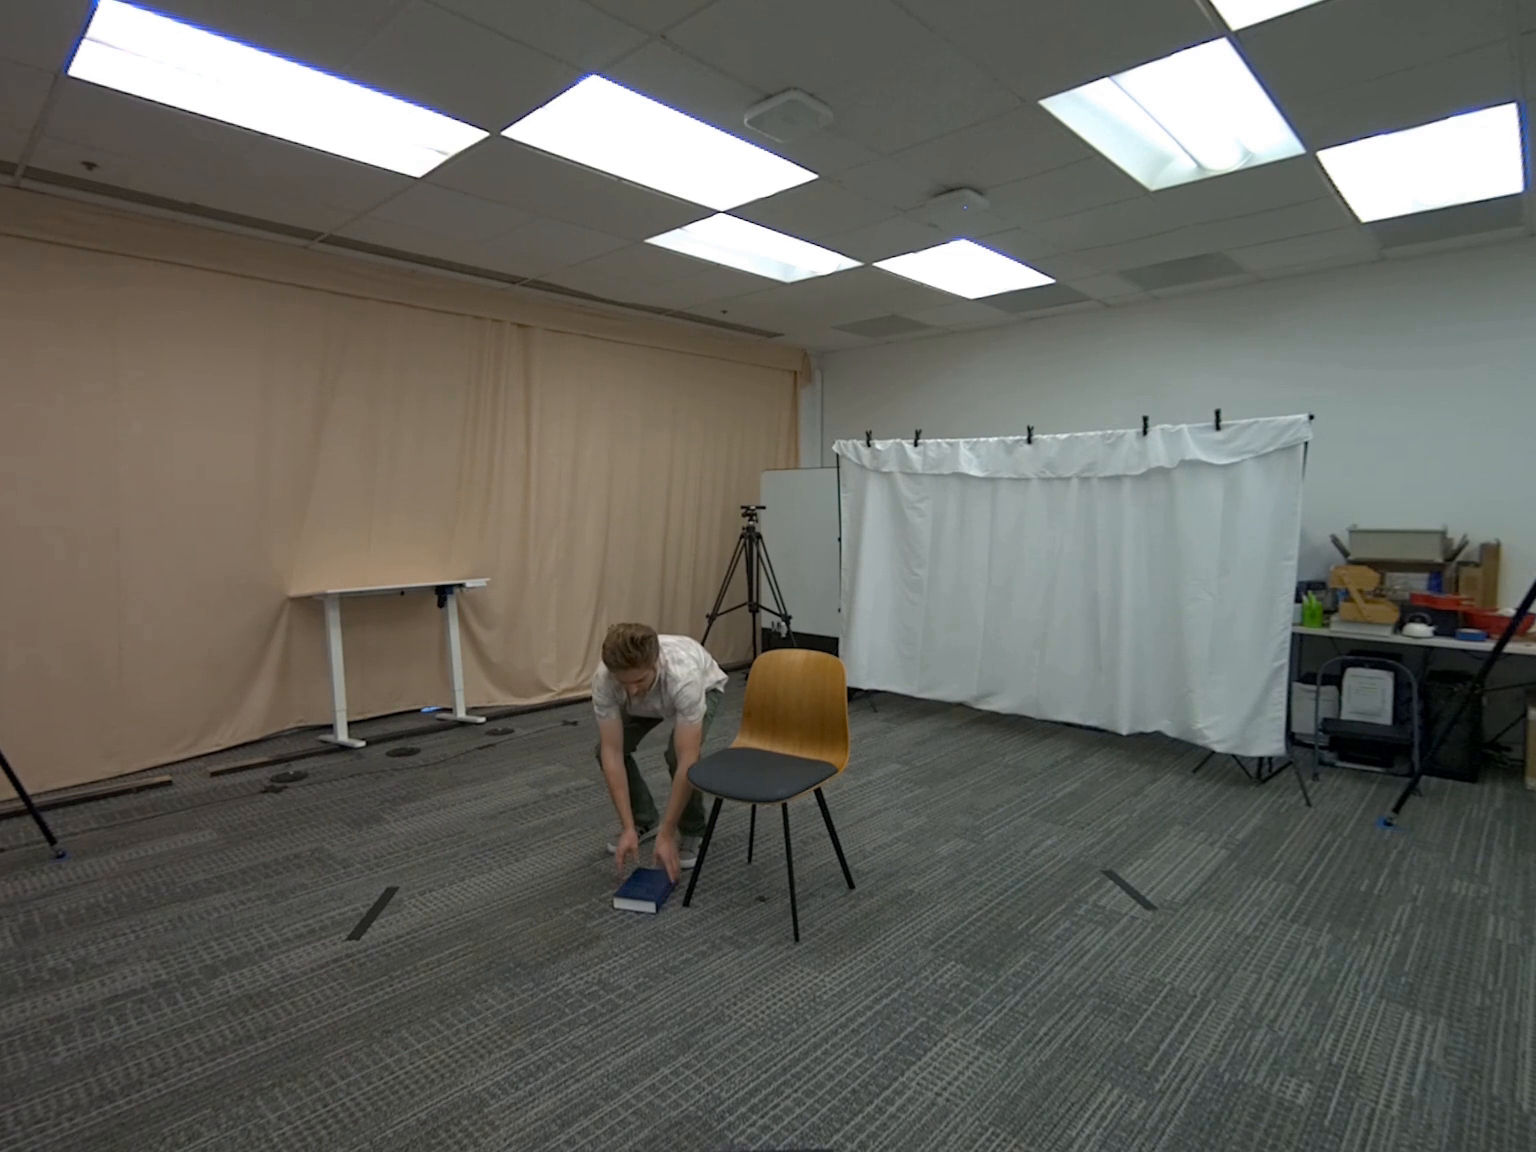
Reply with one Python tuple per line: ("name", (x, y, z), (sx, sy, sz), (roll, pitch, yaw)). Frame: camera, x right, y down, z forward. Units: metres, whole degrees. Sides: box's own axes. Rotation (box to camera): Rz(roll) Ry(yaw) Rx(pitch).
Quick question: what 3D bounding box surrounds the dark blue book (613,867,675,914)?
("dark blue book", (-0.438, 1.116, 3.011), (0.166, 0.045, 0.242), (0, 6, 14))
